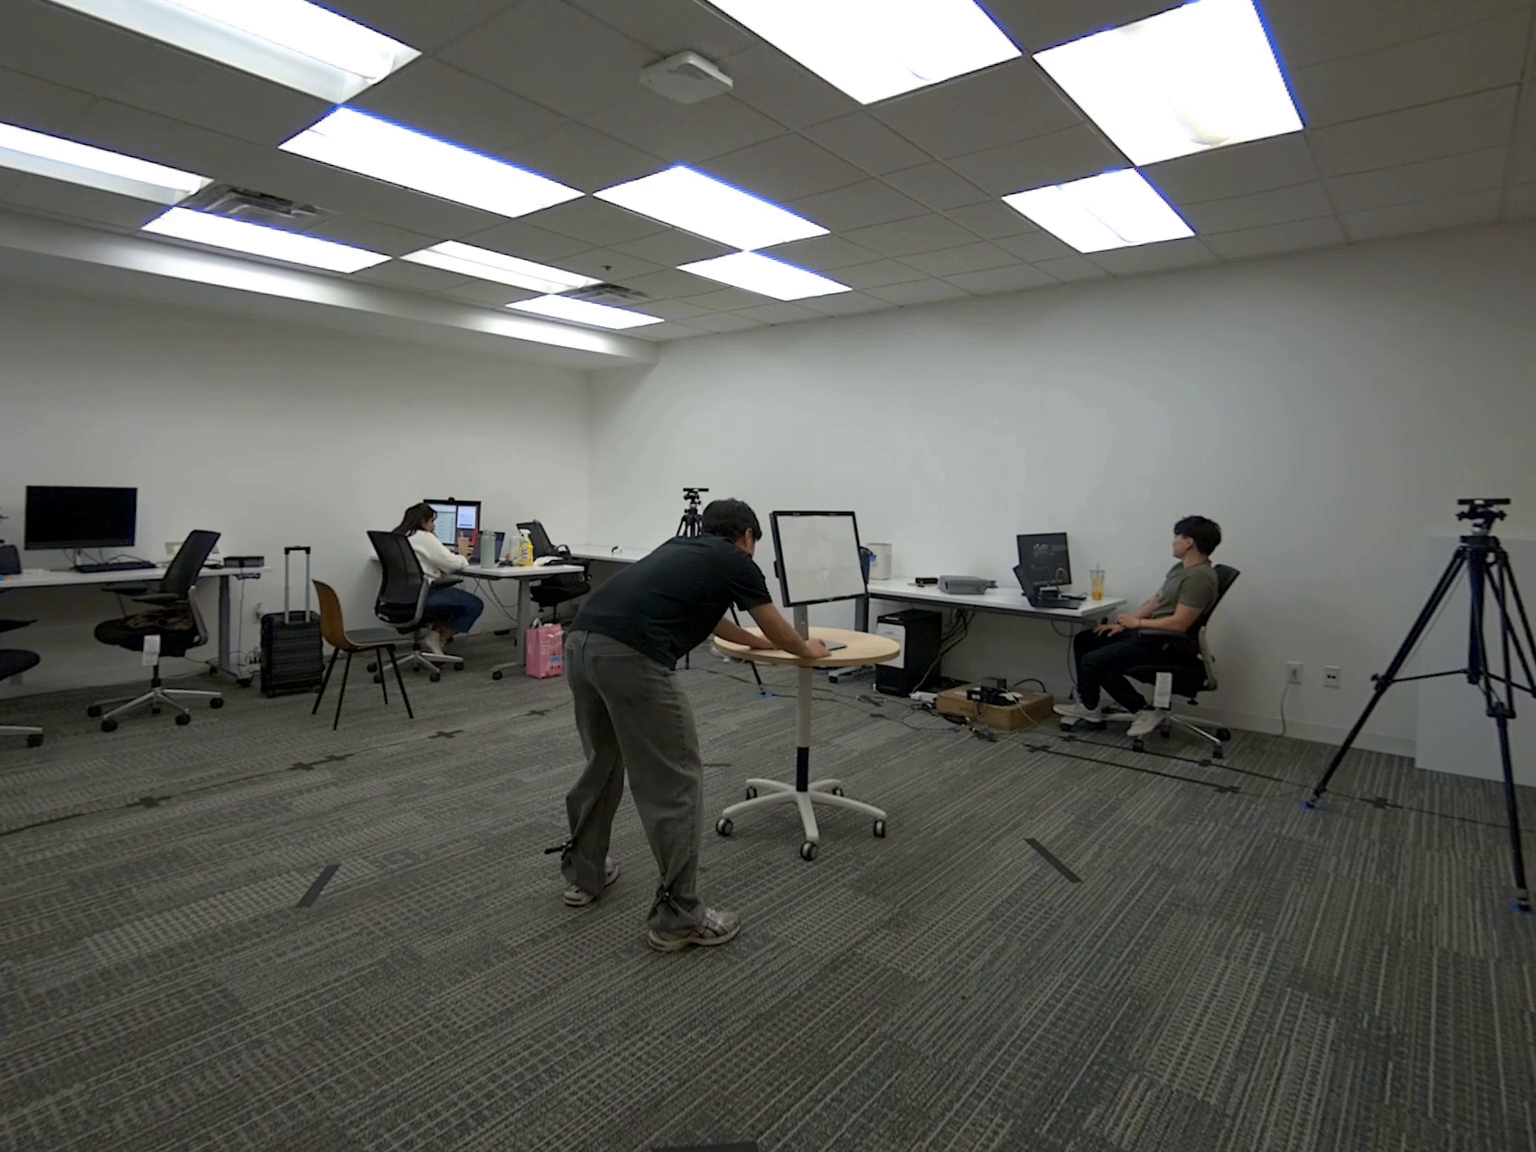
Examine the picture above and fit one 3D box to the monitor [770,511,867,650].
[{"bbox_3d":[0.154,0.011,3.407,0.216,0.554,0.549,-5,0,38],"label":"monitor"}]
